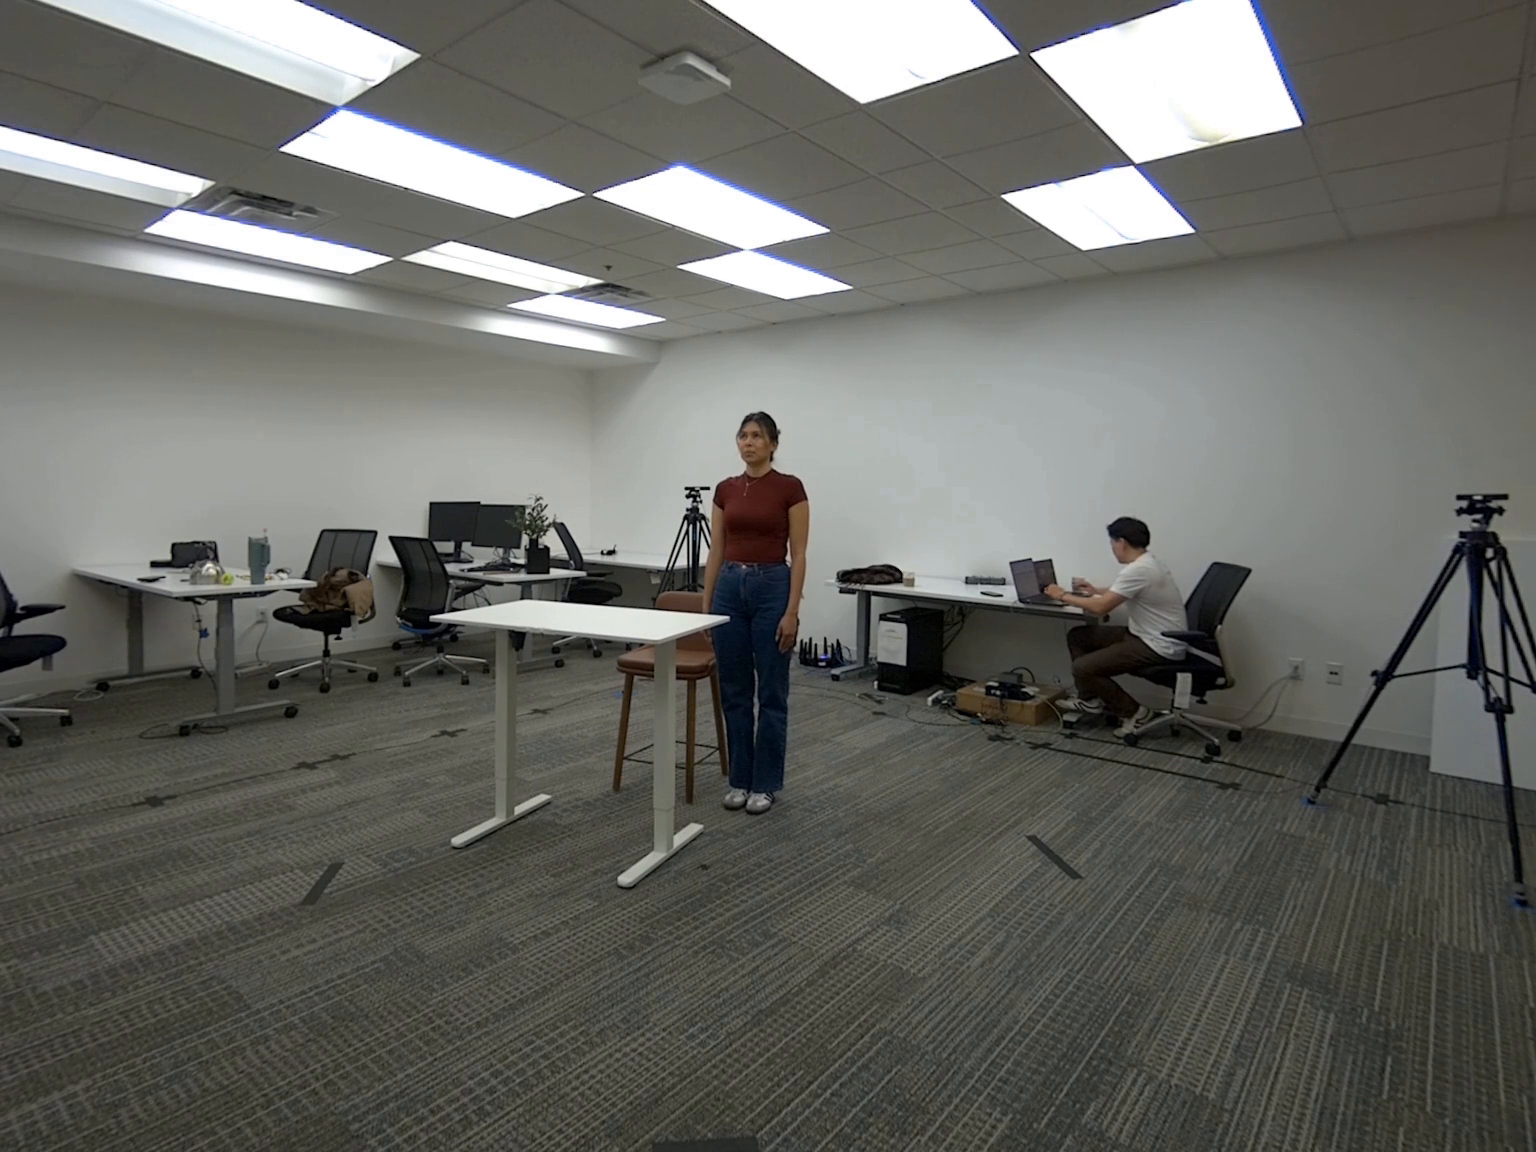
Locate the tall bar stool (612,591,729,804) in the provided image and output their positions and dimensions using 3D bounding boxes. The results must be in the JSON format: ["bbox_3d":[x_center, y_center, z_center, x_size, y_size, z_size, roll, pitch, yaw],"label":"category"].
[{"bbox_3d":[-0.456,0.538,4.001,0.468,0.888,0.457,1,2,24],"label":"tall bar stool"}]
